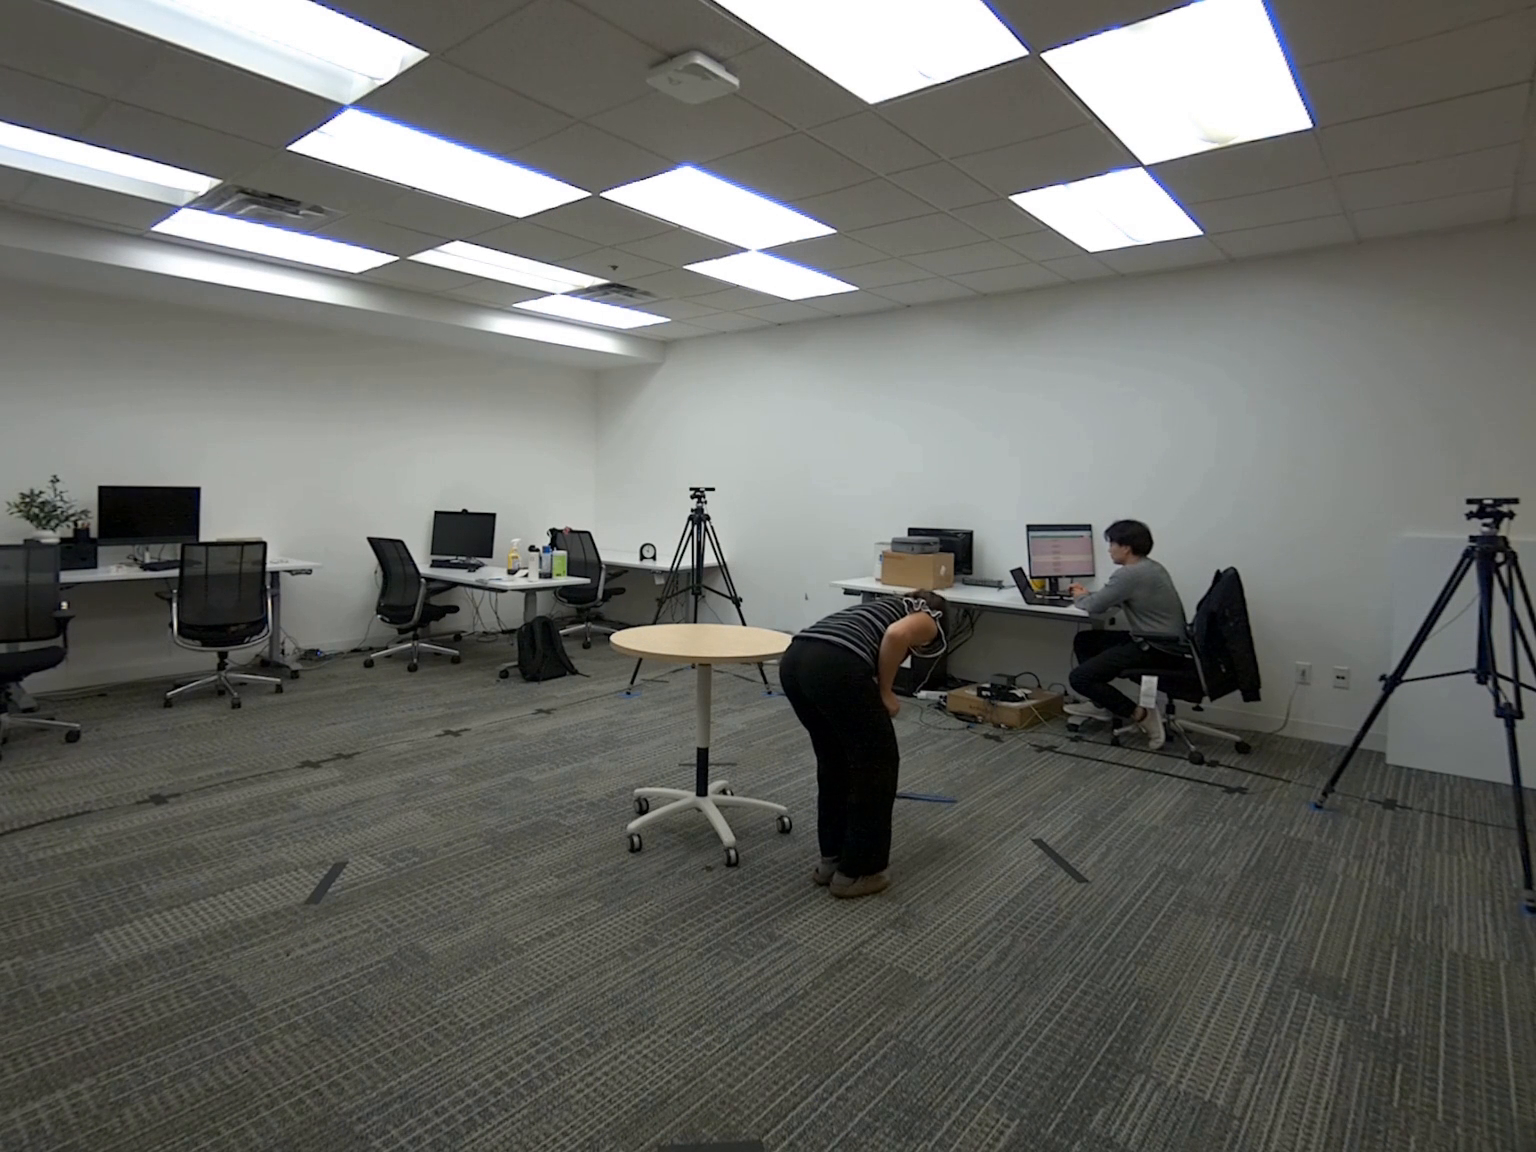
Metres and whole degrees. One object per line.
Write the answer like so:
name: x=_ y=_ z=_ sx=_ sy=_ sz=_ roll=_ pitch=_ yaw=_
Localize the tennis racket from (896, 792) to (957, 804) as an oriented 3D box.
tennis racket: x=0.552 y=0.857 z=3.331 sx=0.420 sy=0.032 sz=0.218 roll=10 pitch=-12 yaw=-30
